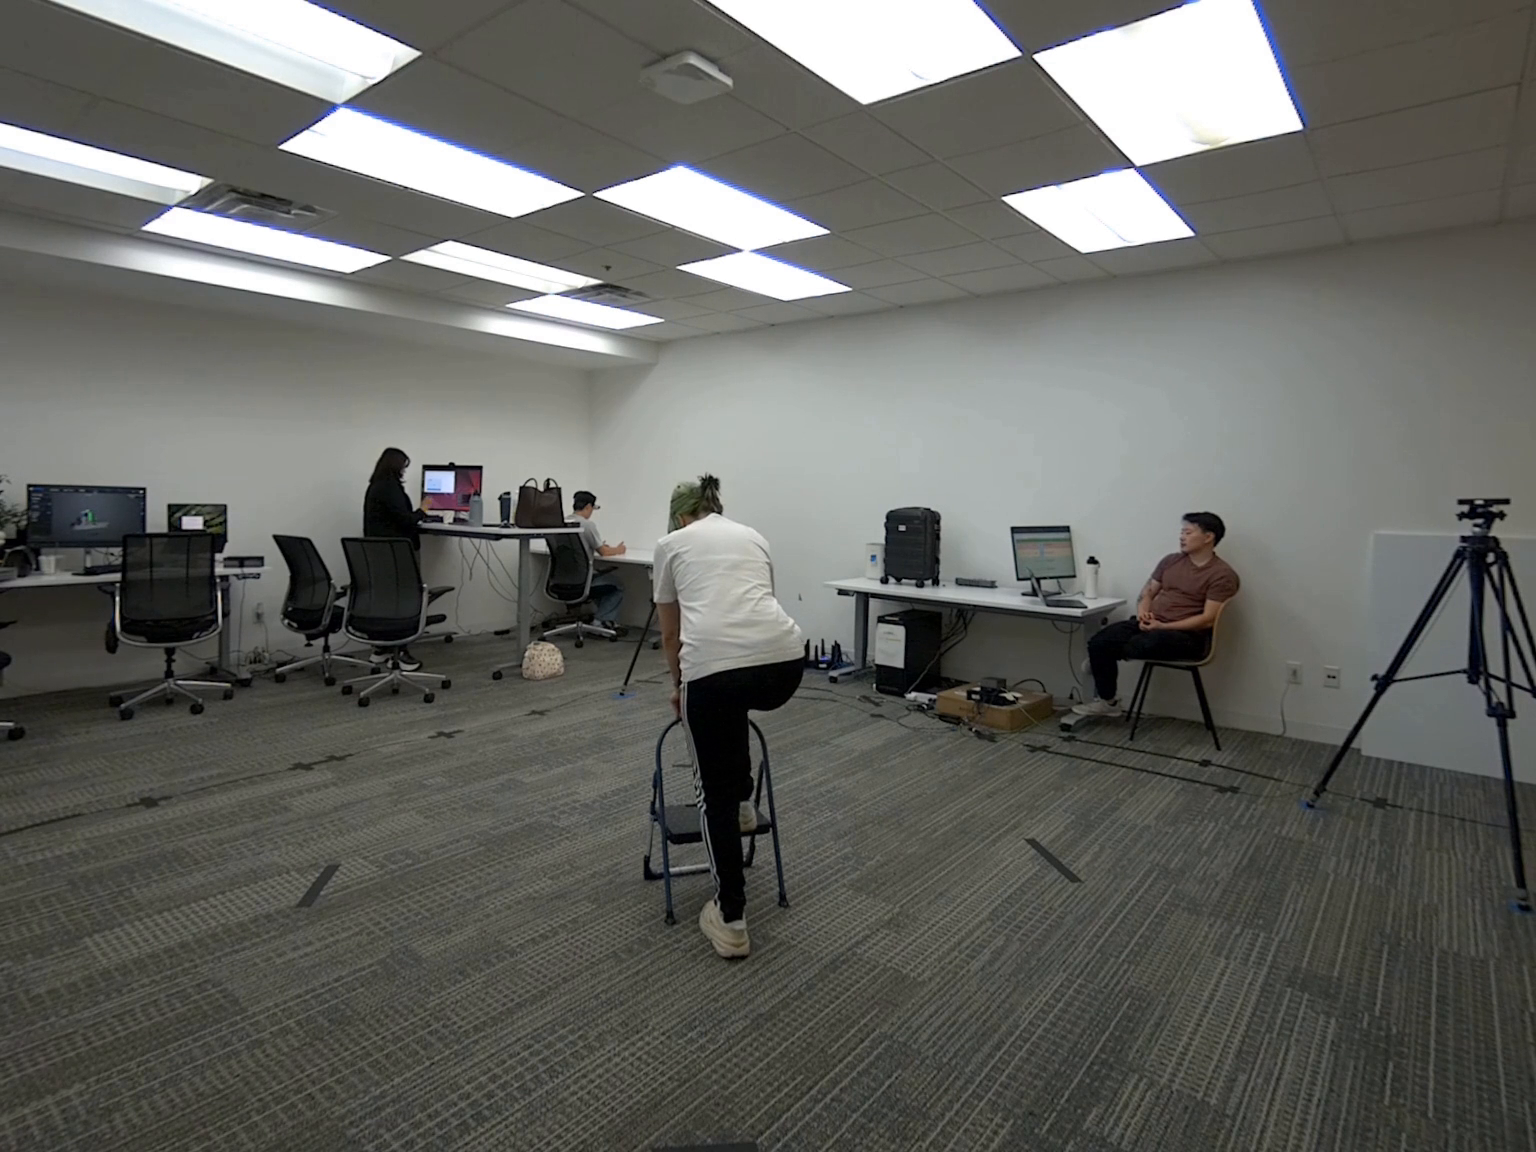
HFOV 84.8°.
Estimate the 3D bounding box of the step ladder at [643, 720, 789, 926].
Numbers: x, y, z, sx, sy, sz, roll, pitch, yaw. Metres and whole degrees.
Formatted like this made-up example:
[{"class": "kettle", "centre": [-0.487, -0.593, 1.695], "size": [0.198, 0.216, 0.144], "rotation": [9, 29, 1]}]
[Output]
[{"class": "step ladder", "centre": [-0.194, 0.786, 2.923], "size": [0.422, 0.604, 0.358], "rotation": [0, 3, -21]}]
